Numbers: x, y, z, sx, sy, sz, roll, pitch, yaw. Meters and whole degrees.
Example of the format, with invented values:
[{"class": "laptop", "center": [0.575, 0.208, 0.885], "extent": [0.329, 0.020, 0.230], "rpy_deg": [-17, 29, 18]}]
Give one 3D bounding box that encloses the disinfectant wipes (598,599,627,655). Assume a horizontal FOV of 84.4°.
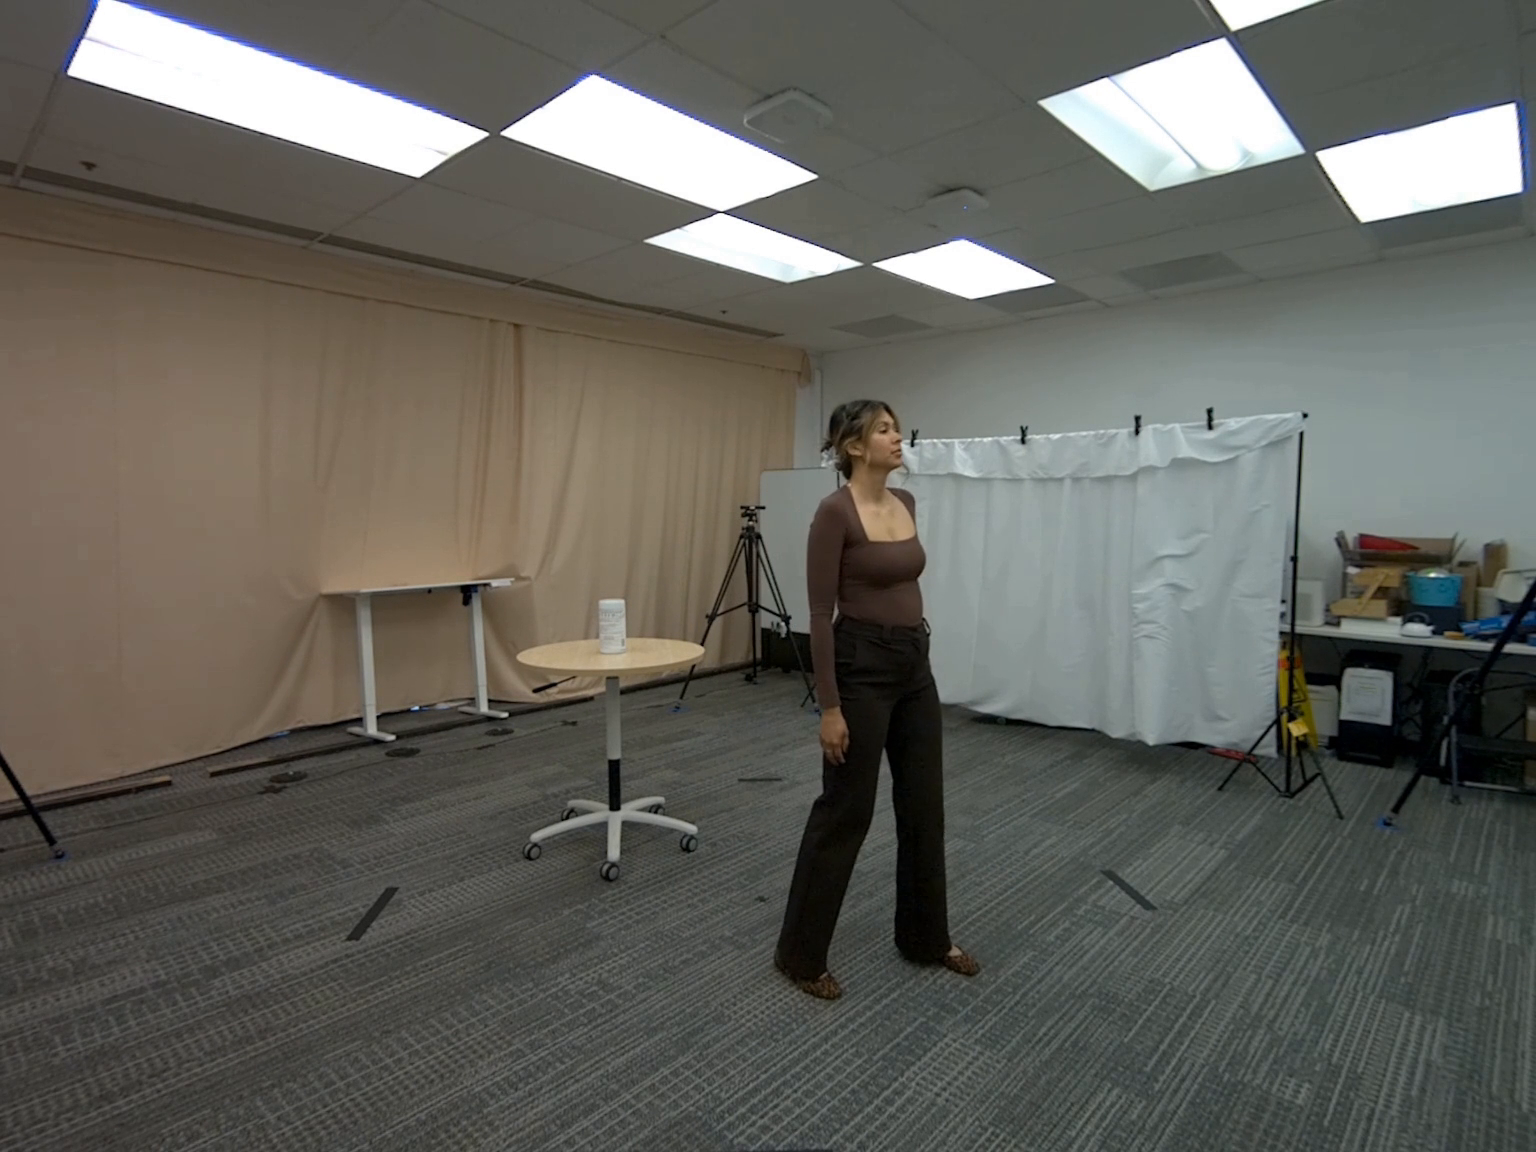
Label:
[{"class": "disinfectant wipes", "center": [-0.640, 0.208, 3.462], "extent": [0.118, 0.217, 0.118], "rpy_deg": [-1, 3, -2]}]
